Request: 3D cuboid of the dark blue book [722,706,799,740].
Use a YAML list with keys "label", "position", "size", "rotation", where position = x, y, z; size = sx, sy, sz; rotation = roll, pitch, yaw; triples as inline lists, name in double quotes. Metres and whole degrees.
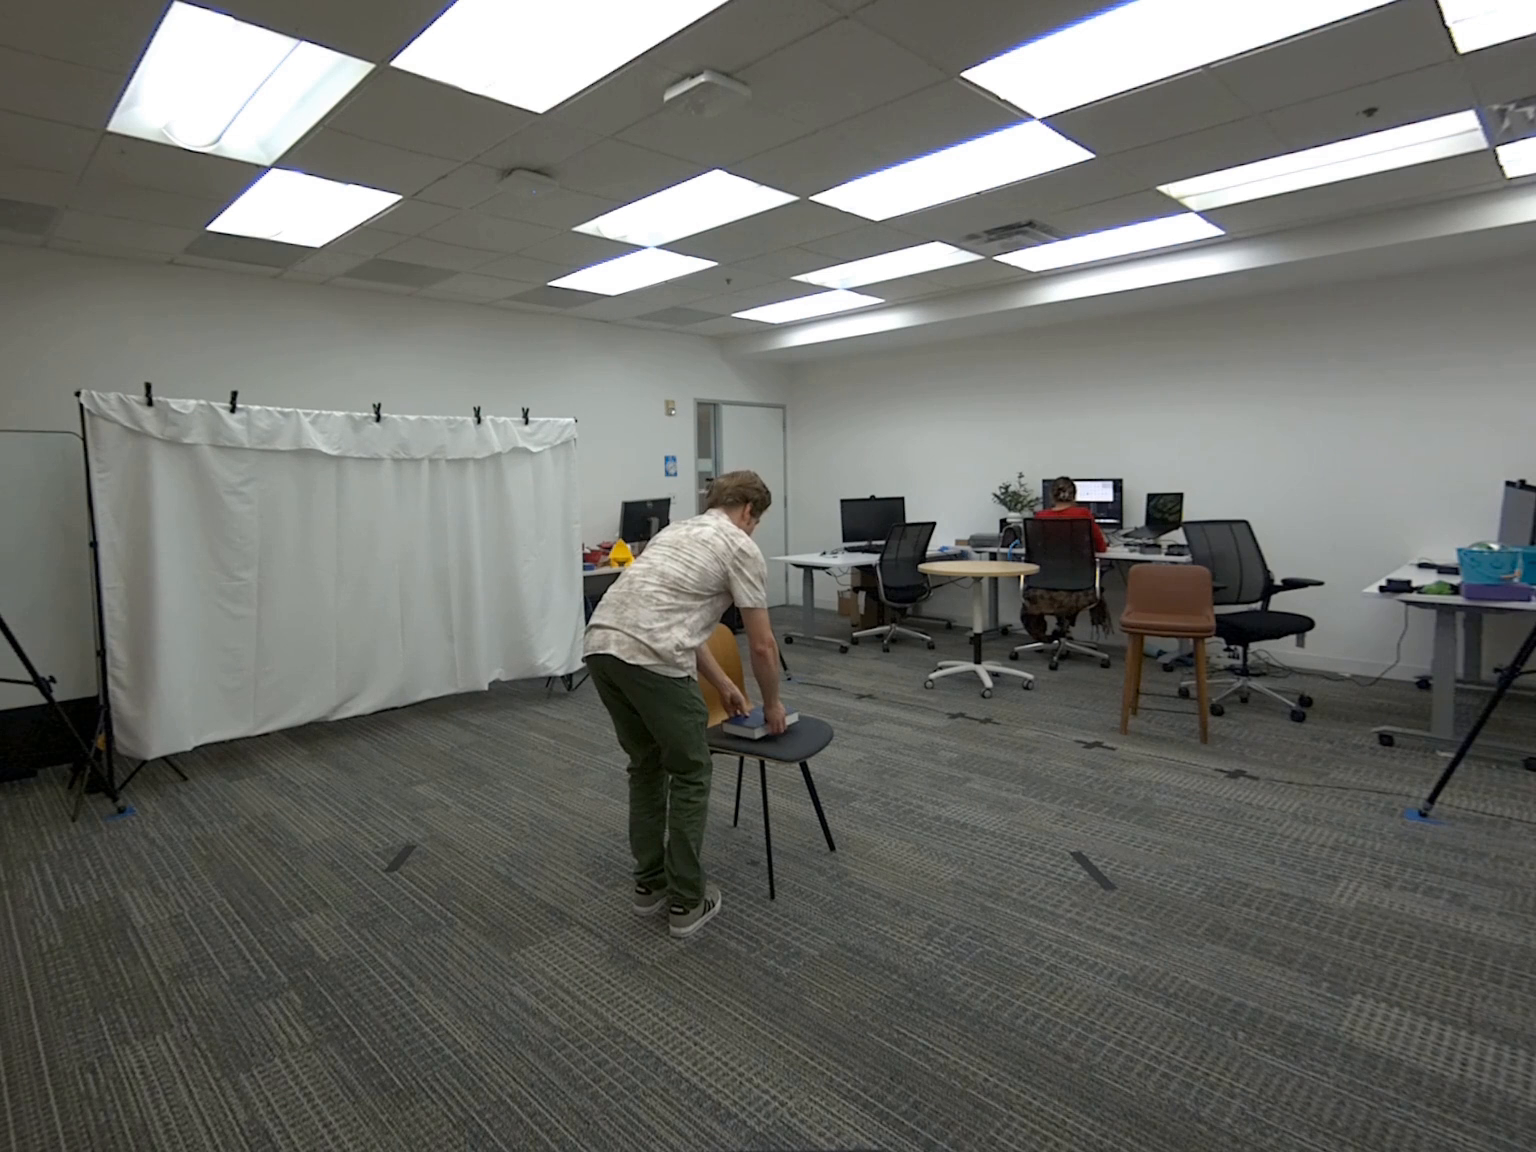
- label: "dark blue book"
  position: [-0.030, 0.518, 3.061]
  size: [0.168, 0.045, 0.239]
  rotation: [4, 10, 42]
